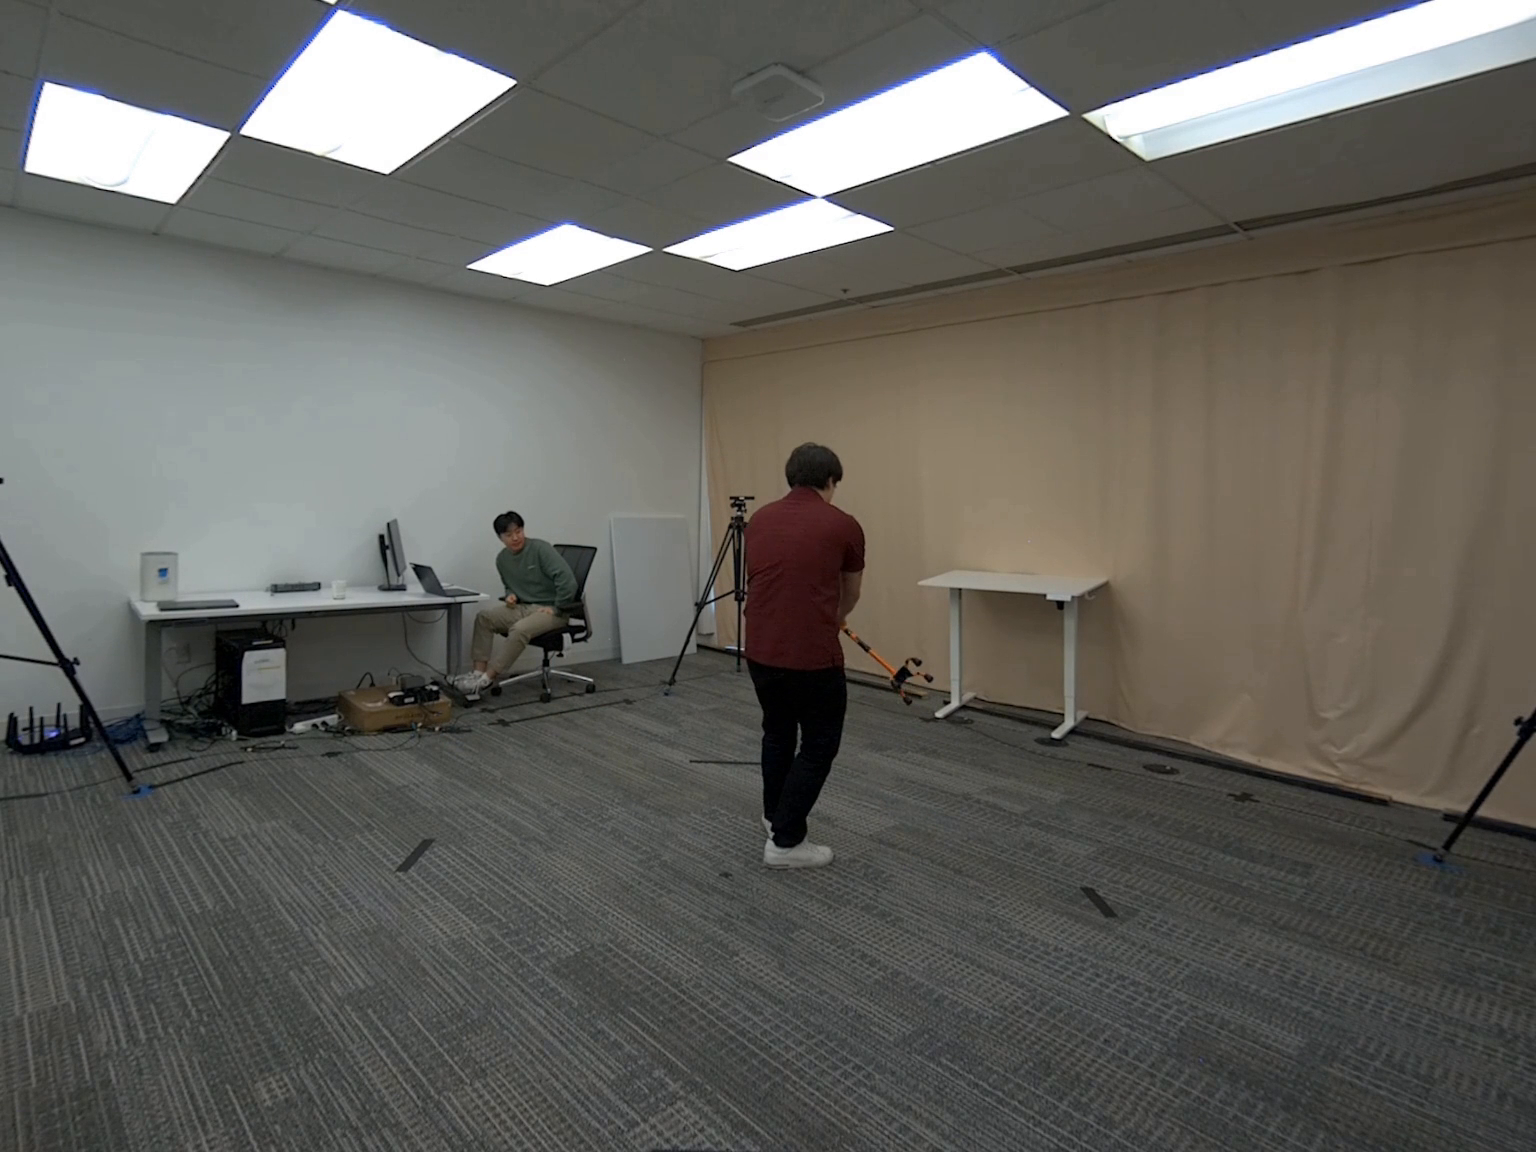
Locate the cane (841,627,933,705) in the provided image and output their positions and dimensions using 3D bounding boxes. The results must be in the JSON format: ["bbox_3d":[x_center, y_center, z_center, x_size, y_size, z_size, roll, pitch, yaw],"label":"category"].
[{"bbox_3d":[0.287,0.184,3.559,0.937,0.151,0.200,42,-6,39],"label":"cane"}]
